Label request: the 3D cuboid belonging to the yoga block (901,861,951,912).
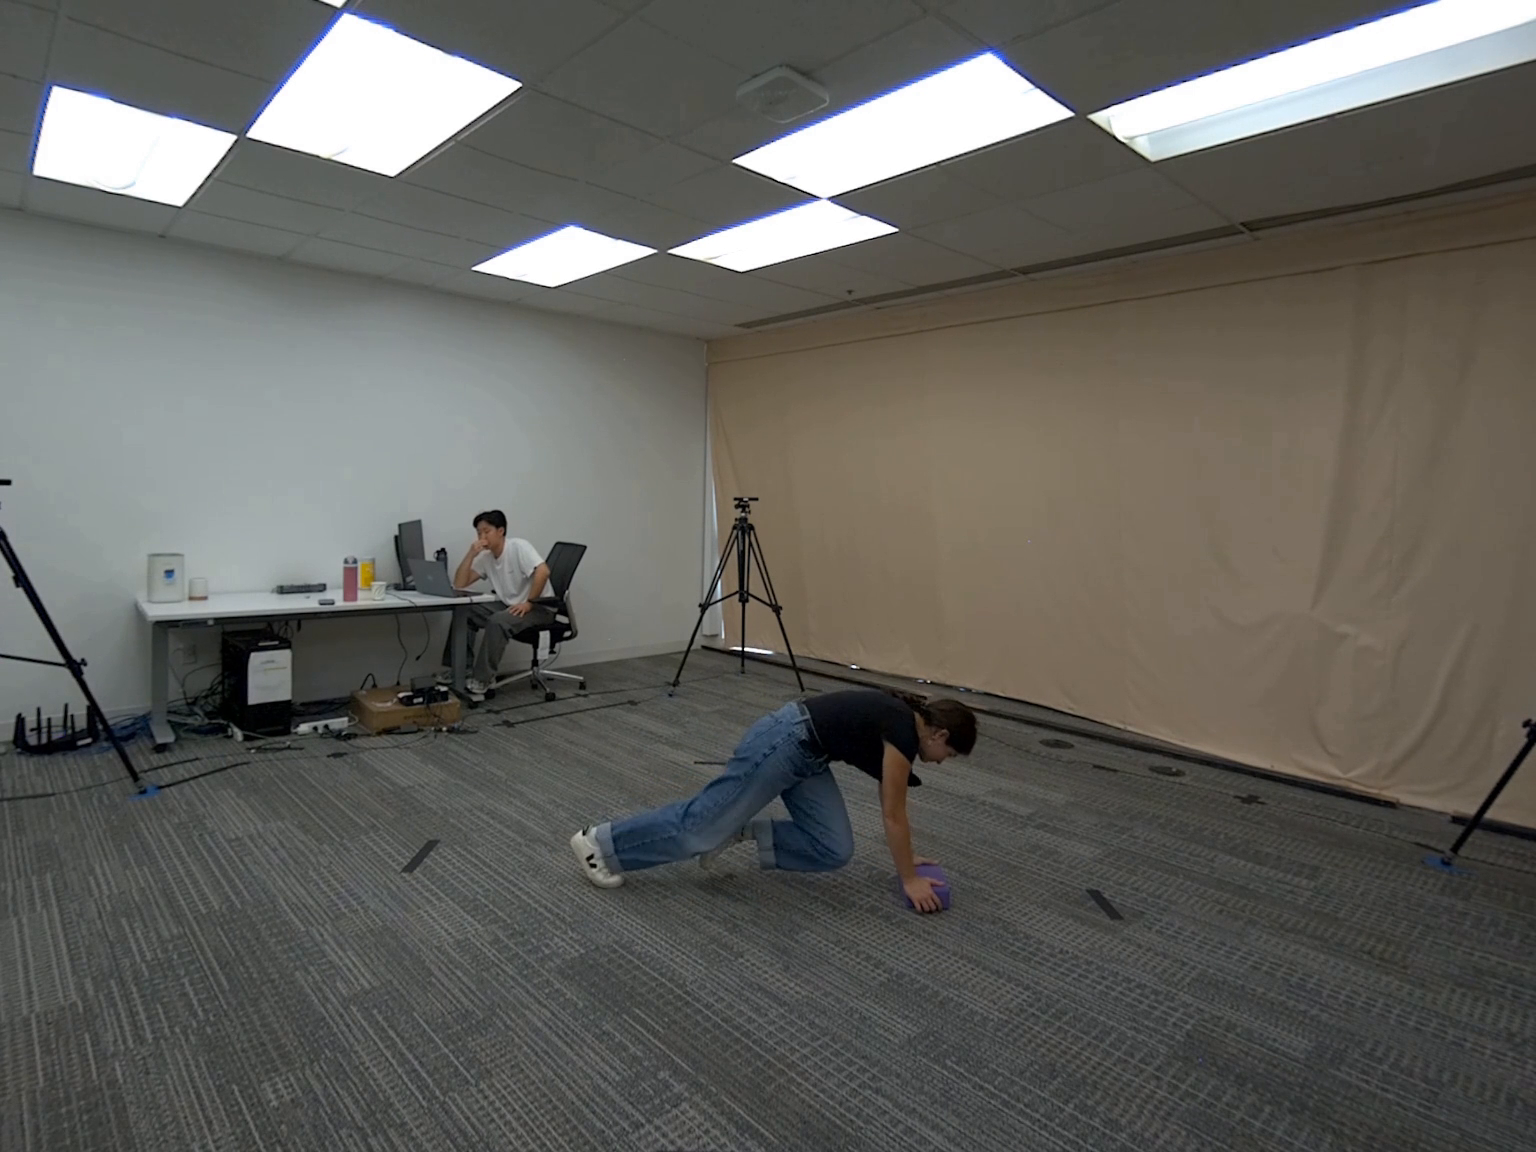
[{"bbox_3d":[0.548,1.099,2.986,0.149,0.076,0.229,0,4,2],"label":"yoga block"}]
